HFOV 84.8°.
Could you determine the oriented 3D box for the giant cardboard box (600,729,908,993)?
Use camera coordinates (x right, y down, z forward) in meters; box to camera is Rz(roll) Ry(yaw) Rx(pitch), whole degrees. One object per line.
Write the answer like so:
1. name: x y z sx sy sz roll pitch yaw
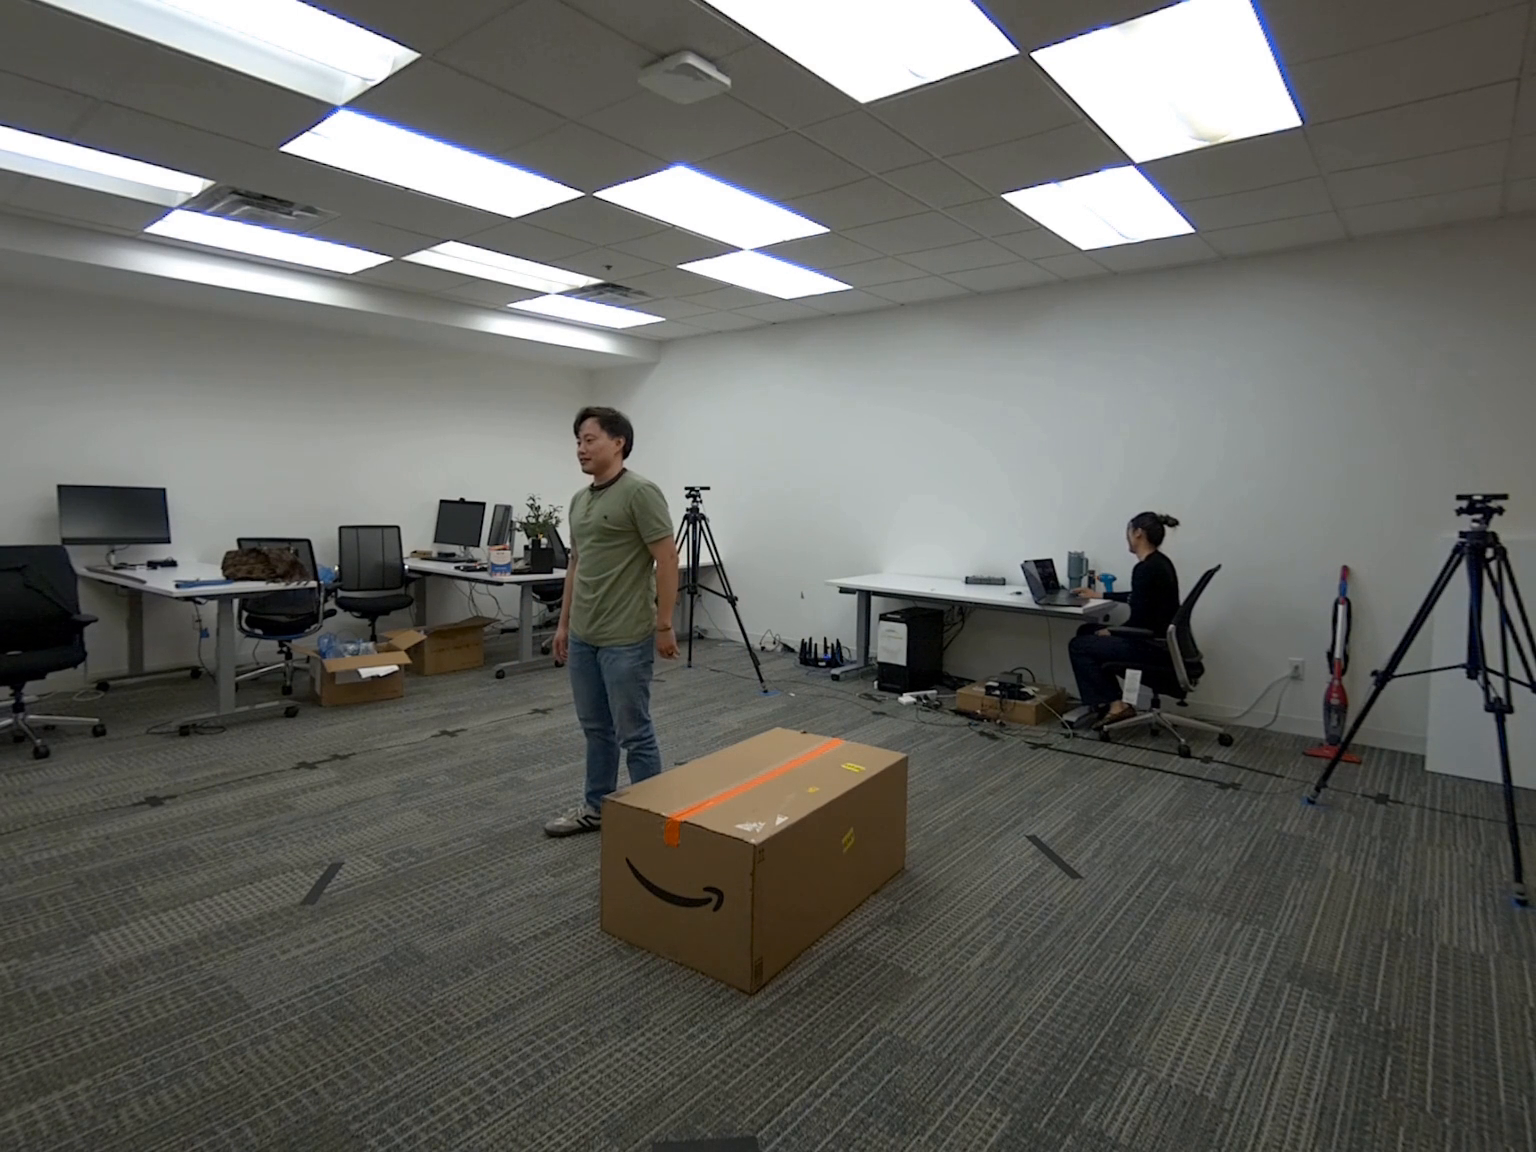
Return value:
1. giant cardboard box: -0.010 0.878 2.888 0.596 0.424 0.998 5 6 34
